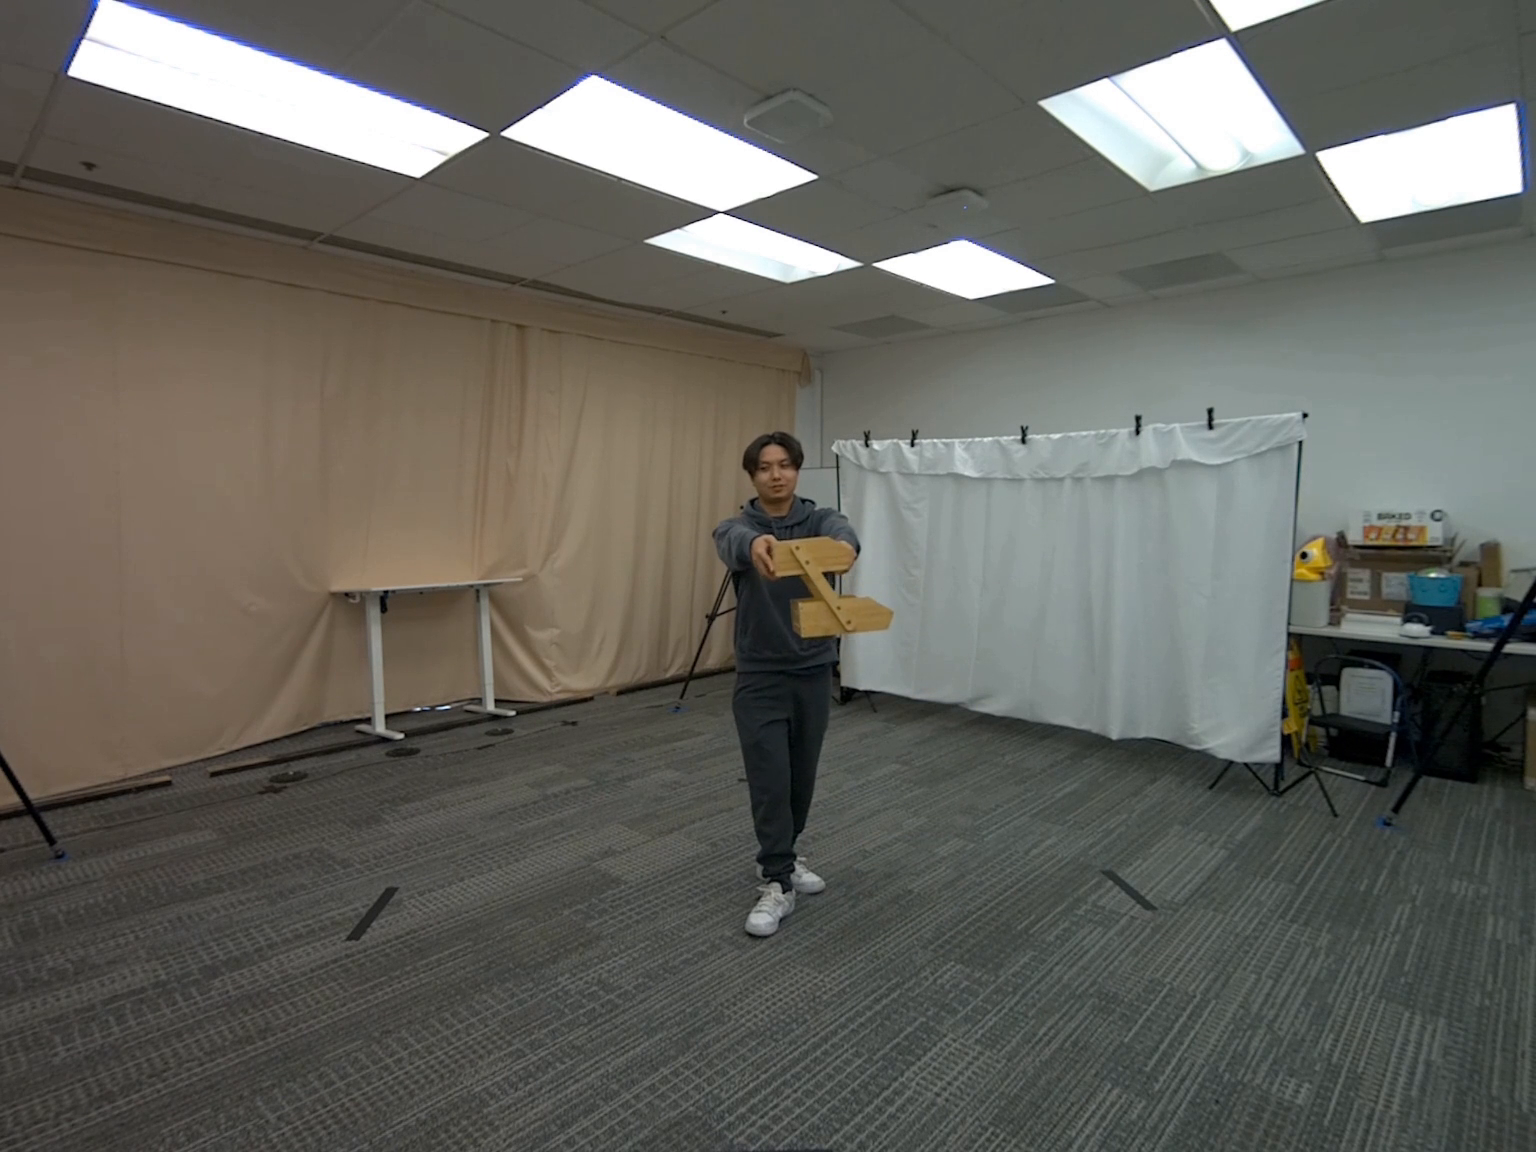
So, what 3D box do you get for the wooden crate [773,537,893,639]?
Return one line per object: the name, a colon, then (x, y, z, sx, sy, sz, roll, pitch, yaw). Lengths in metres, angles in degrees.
wooden crate: (0.173, 0.022, 2.375, 0.303, 0.273, 0.323, -6, 0, 1)
